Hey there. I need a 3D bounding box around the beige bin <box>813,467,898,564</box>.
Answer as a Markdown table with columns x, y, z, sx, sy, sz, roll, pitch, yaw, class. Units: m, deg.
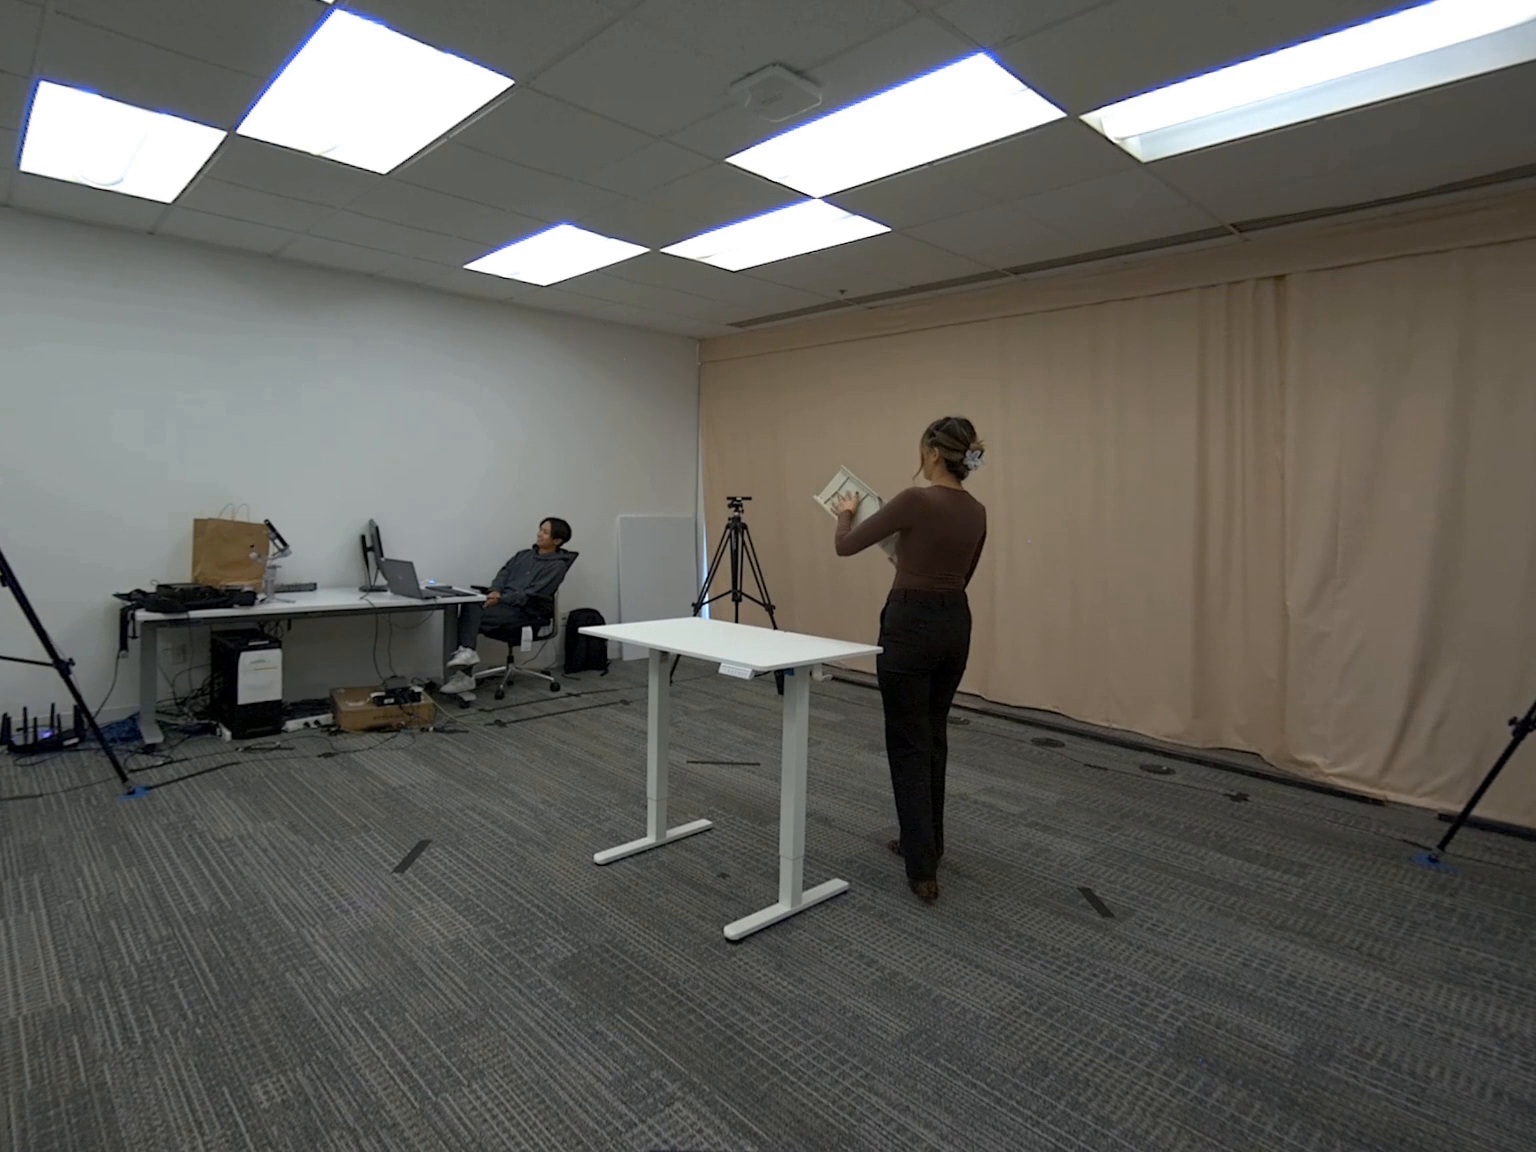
| x | y | z | sx | sy | sz | roll | pitch | yaw | class |
| --- | --- | --- | --- | --- | --- | --- | --- | --- | --- |
| 0.449 | -0.214 | 3.491 | 0.410 | 0.189 | 0.389 | 31 | 14 | -35 | beige bin |
